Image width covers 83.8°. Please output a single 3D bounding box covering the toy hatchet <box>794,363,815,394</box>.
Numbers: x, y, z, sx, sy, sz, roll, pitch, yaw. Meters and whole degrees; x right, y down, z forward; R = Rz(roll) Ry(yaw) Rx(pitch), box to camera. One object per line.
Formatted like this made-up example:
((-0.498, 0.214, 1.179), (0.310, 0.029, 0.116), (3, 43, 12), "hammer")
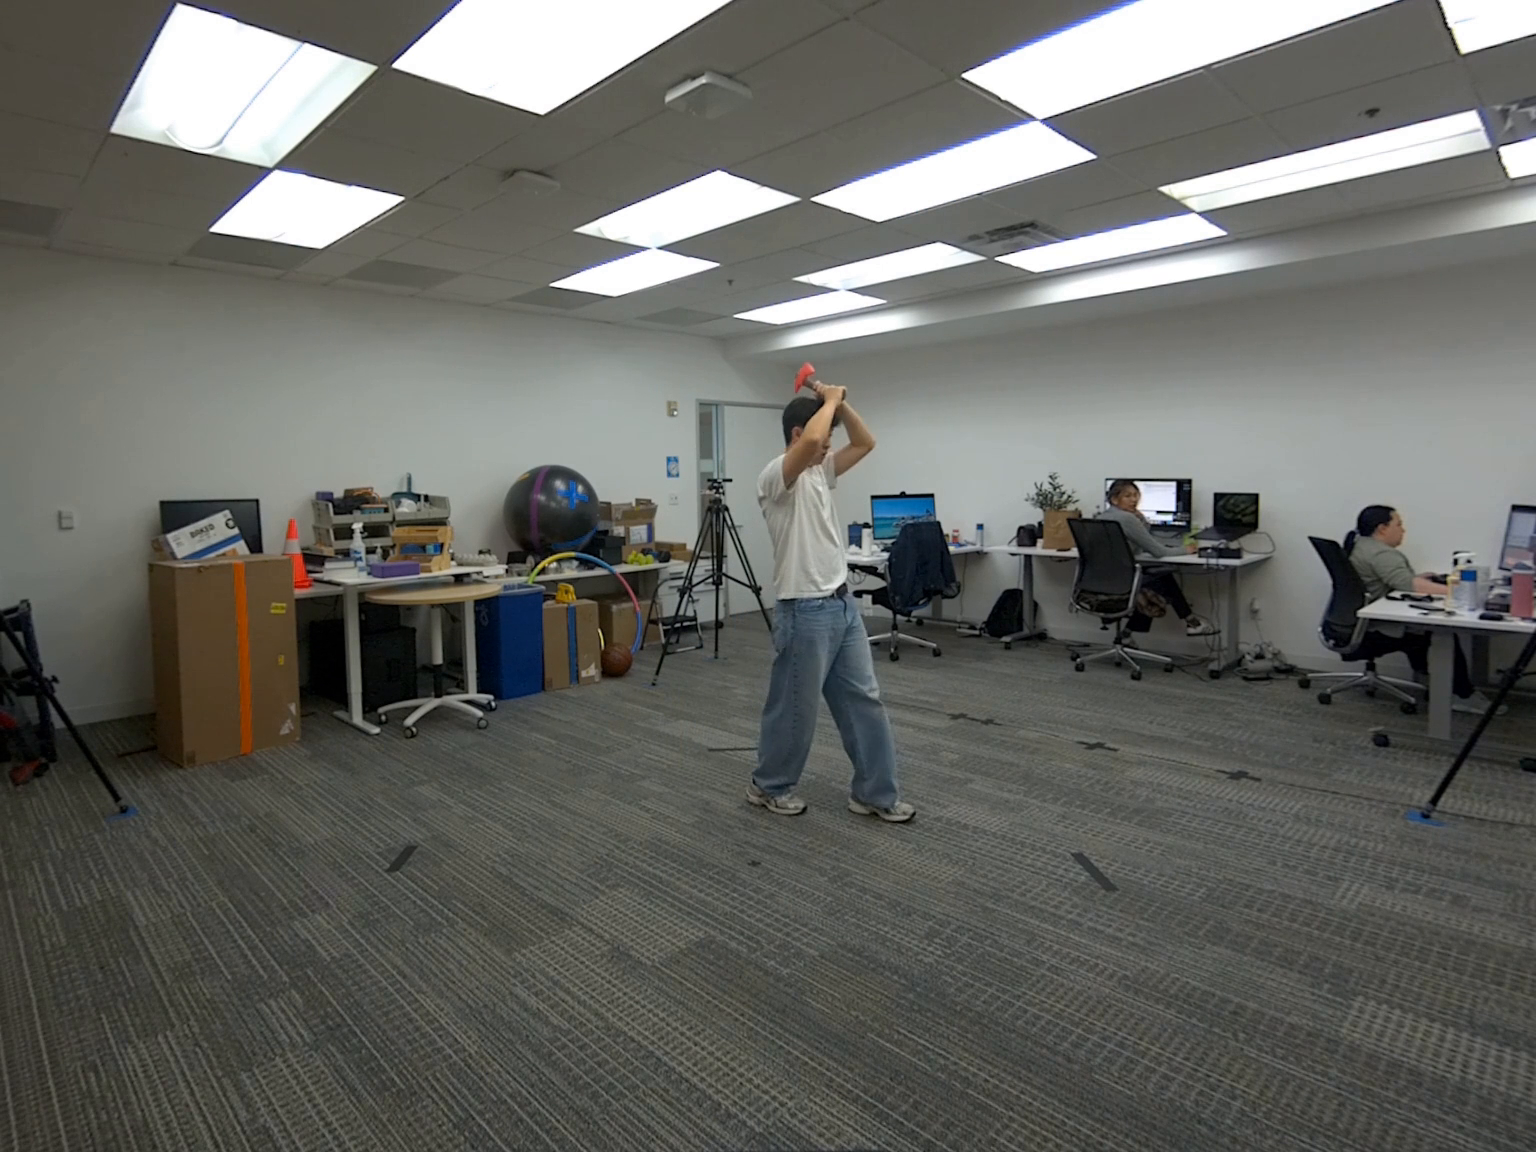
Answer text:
((0.214, -0.796, 3.464), (0.029, 0.130, 0.280), (-1, 15, -45), "toy hatchet")
